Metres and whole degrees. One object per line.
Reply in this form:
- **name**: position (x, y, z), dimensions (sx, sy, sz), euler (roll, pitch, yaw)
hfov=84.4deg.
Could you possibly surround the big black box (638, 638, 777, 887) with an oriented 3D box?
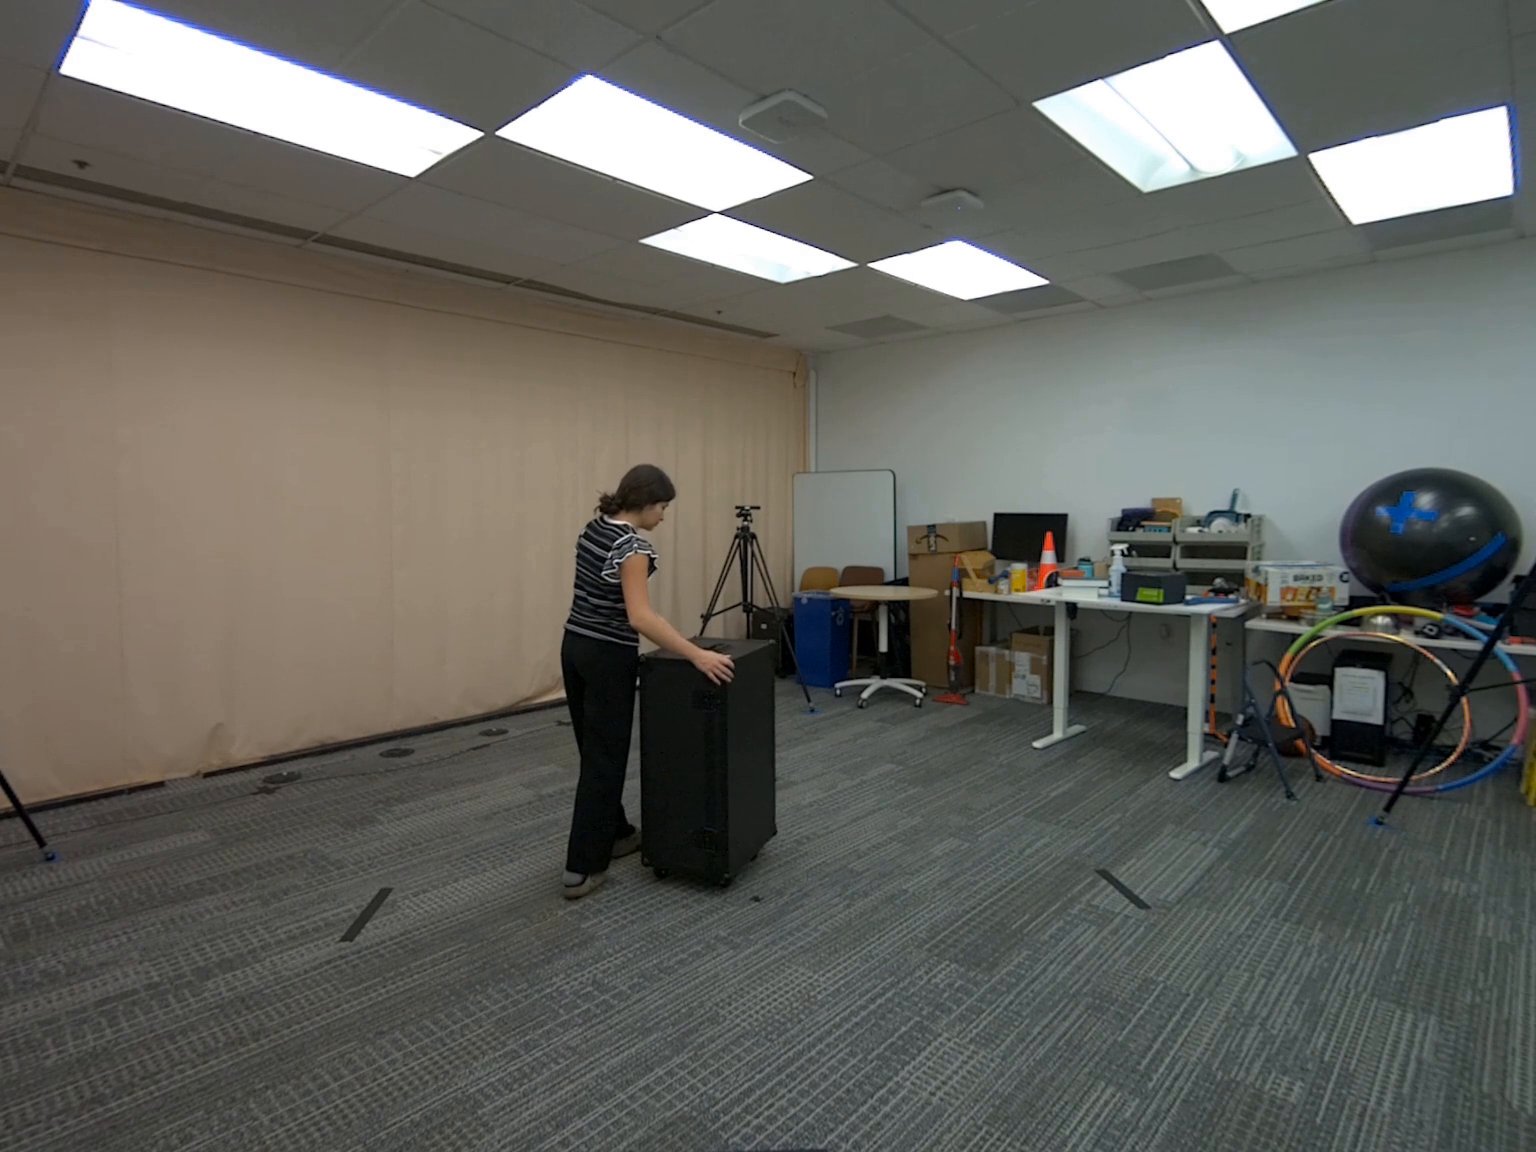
- **big black box**: position (-0.223, 0.697, 3.227), dimensions (0.406, 0.859, 0.510), euler (1, 4, 23)
